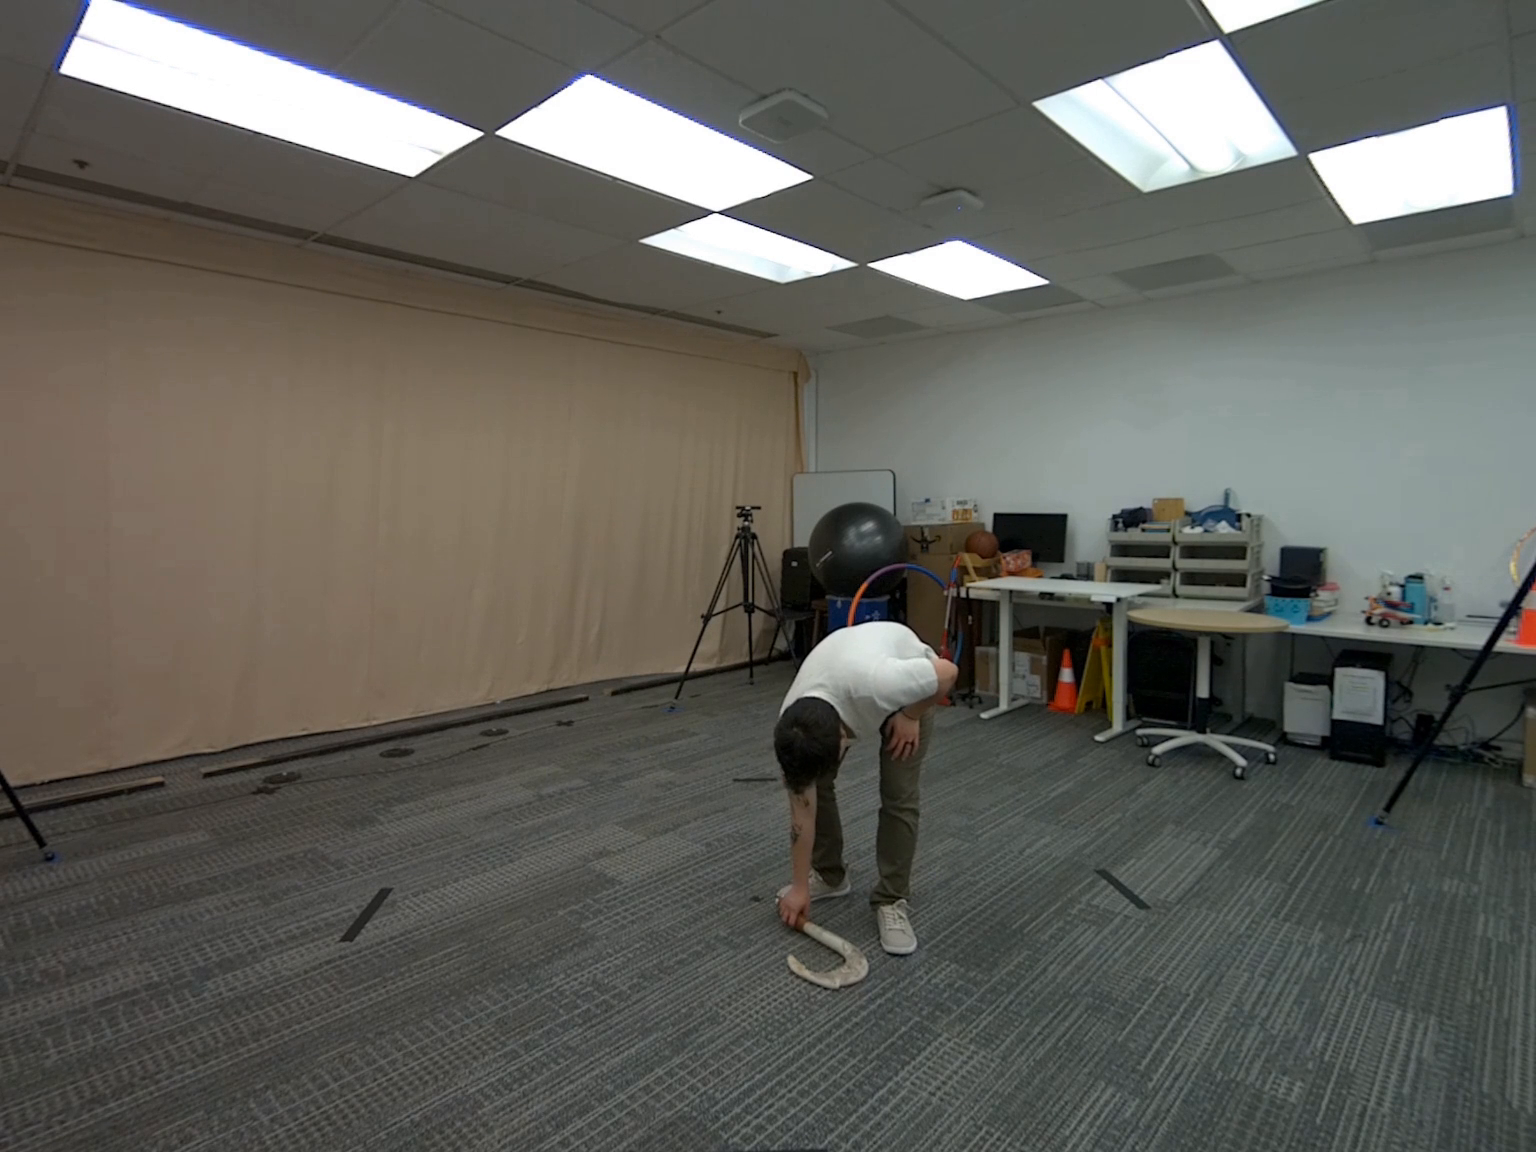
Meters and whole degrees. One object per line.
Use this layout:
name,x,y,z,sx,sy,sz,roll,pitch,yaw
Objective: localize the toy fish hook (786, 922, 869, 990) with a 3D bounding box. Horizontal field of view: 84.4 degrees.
toy fish hook,0.123,1.131,2.654,0.219,0.048,0.521,-1,7,-28
